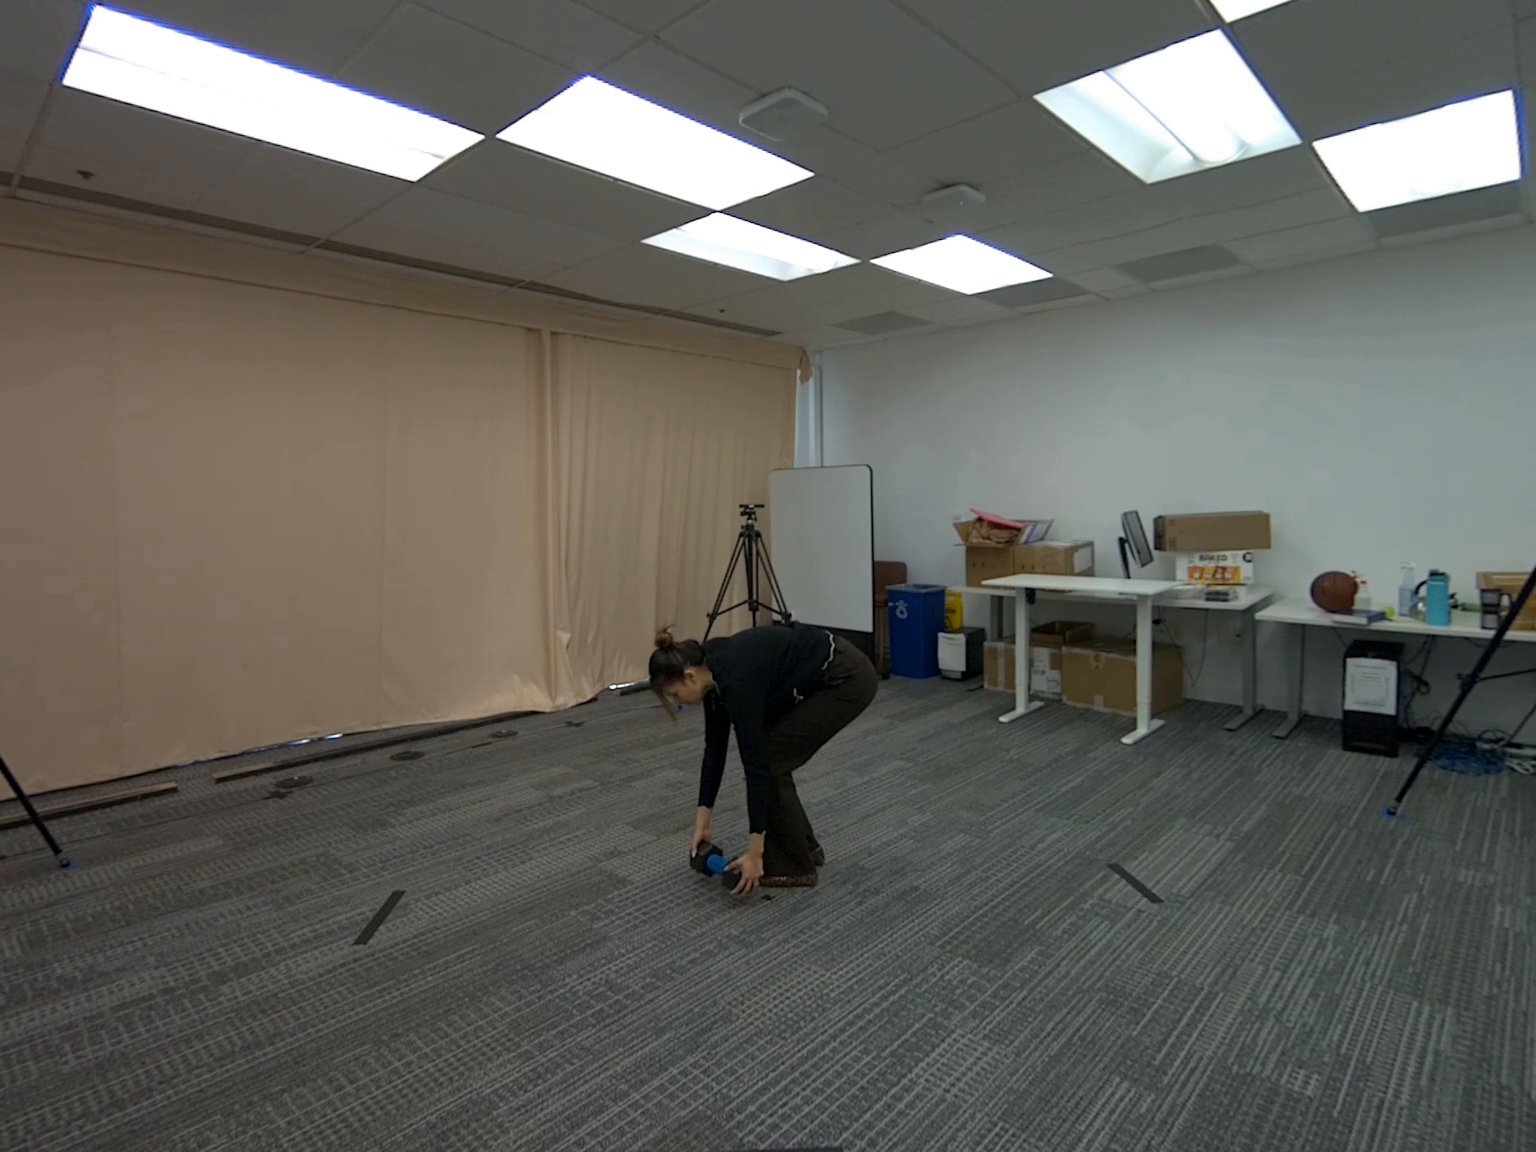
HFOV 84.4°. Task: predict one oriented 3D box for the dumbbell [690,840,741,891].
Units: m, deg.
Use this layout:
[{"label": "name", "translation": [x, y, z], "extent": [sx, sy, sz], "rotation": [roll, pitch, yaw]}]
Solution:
[{"label": "dumbbell", "translation": [-0.157, 1.047, 3.028], "extent": [0.121, 0.107, 0.302], "rotation": [-34, 20, -31]}]
